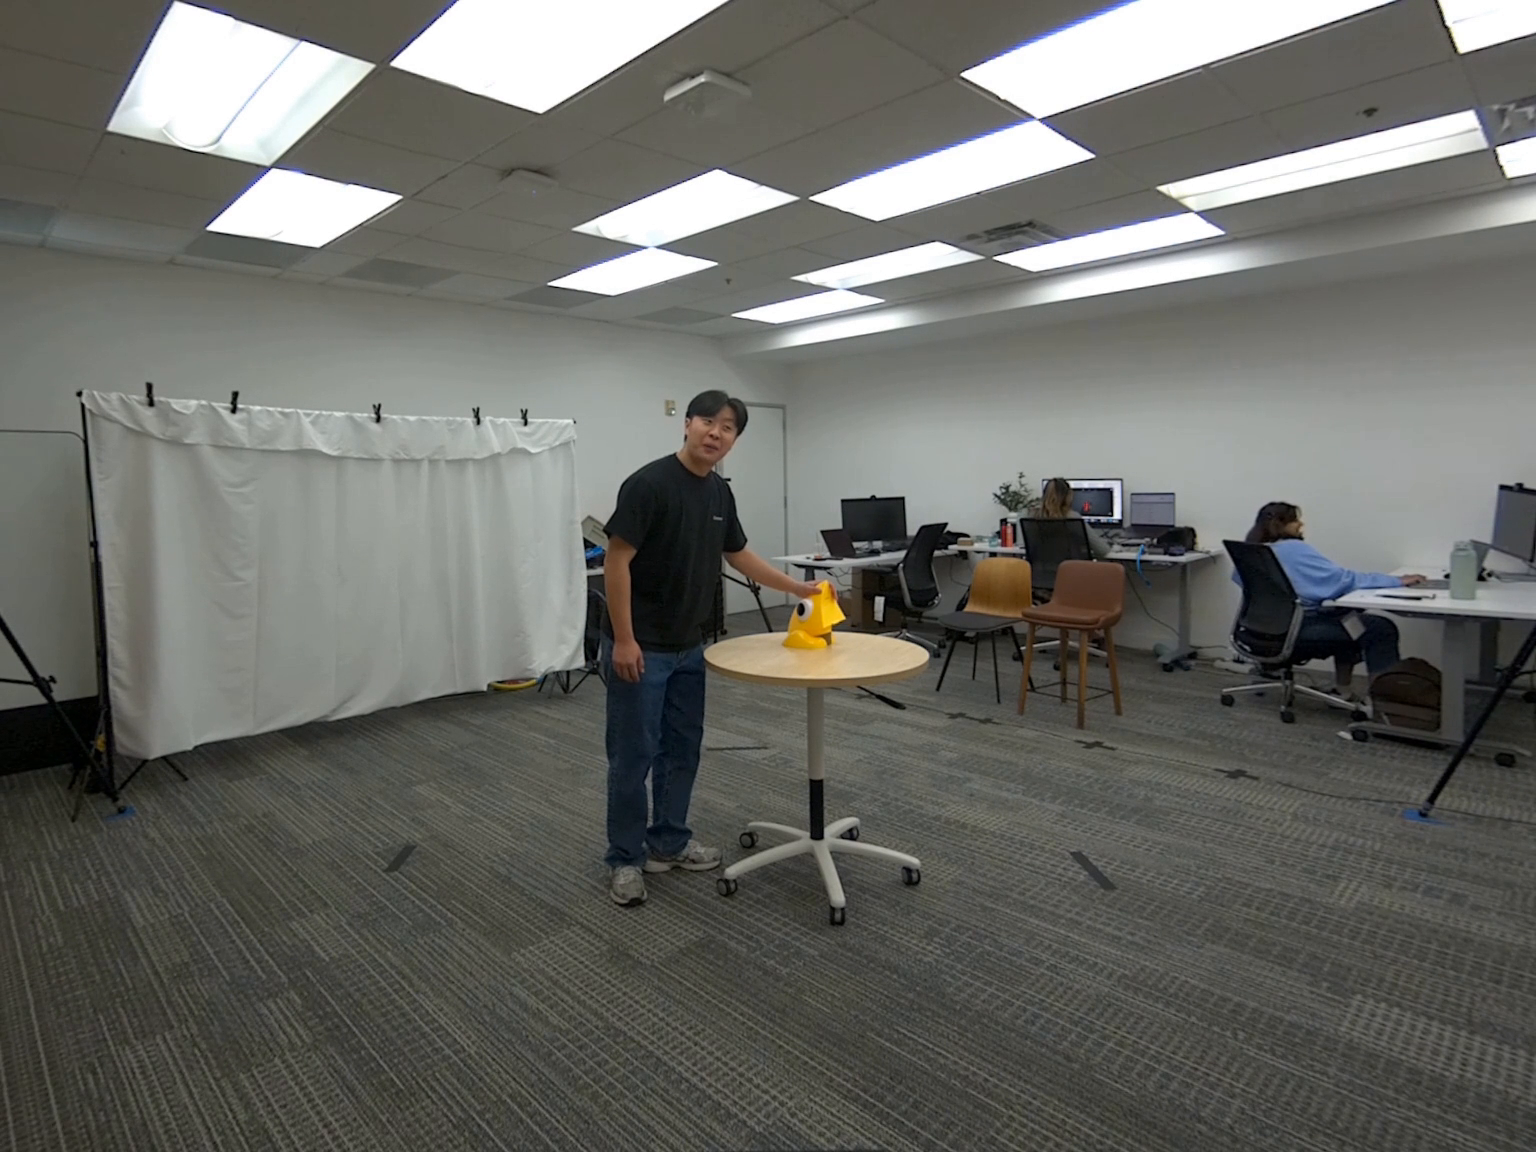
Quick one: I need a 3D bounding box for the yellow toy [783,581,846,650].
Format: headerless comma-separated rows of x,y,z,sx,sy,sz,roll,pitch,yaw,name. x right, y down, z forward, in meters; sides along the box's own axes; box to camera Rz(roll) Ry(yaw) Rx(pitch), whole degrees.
0.156,0.130,3.081,0.198,0.230,0.201,2,5,26,yellow toy
